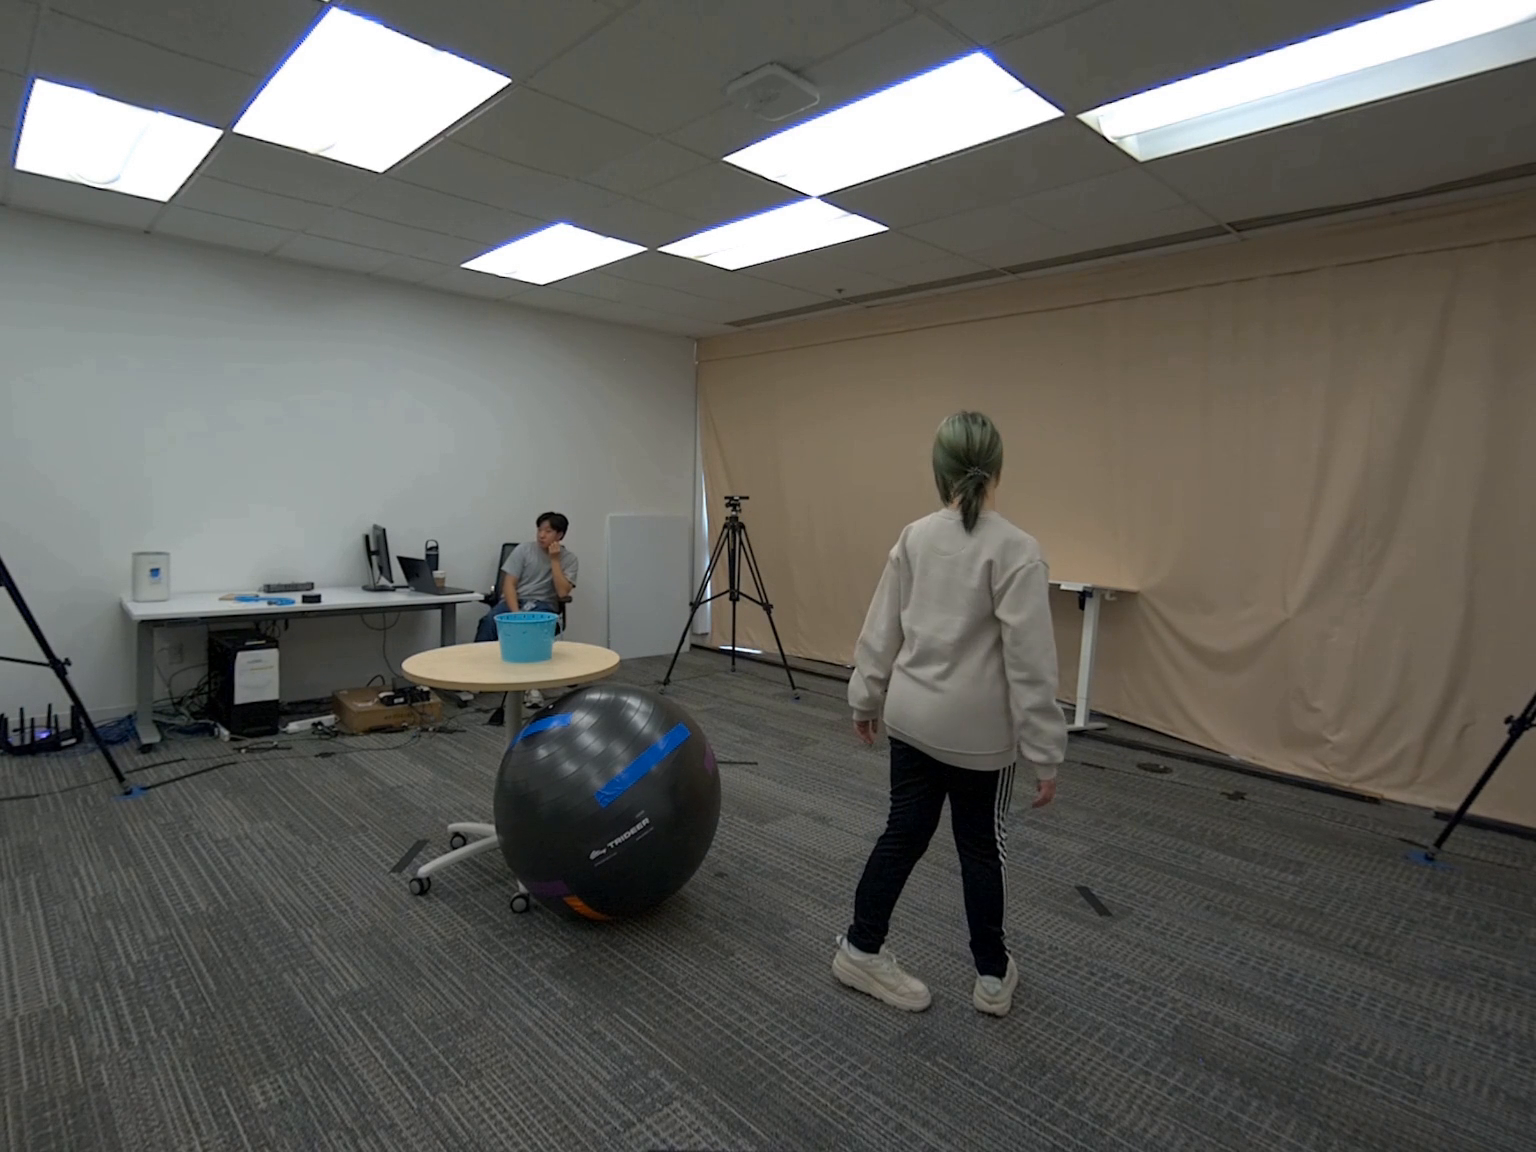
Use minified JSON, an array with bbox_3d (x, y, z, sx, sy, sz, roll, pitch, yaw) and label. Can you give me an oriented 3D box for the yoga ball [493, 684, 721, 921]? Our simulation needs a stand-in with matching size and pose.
[{"bbox_3d":[-0.546,0.758,2.825,0.757,0.756,0.761,1,4,-1],"label":"yoga ball"}]
